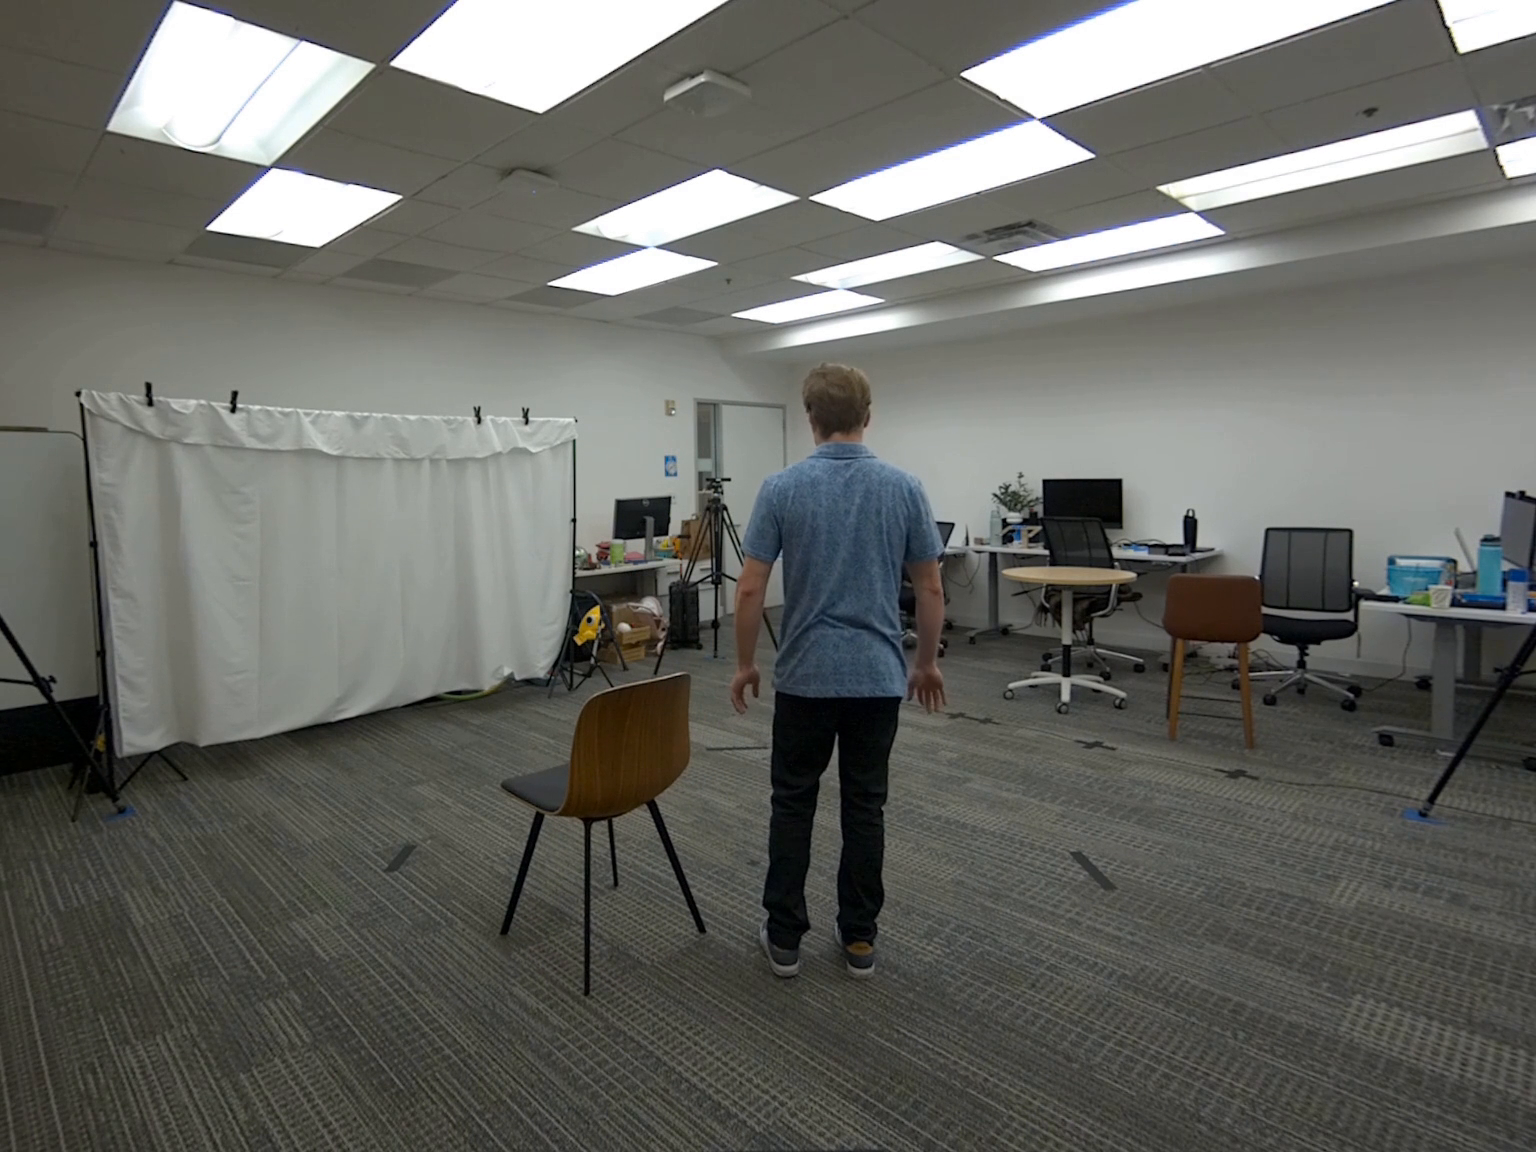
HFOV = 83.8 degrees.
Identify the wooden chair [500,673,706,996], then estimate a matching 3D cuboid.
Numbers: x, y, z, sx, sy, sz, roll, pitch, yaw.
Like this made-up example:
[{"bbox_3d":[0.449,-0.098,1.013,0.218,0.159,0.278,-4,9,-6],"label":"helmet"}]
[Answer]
[{"bbox_3d":[-0.516,0.679,2.611,0.541,0.871,0.466,10,11,44],"label":"wooden chair"}]
